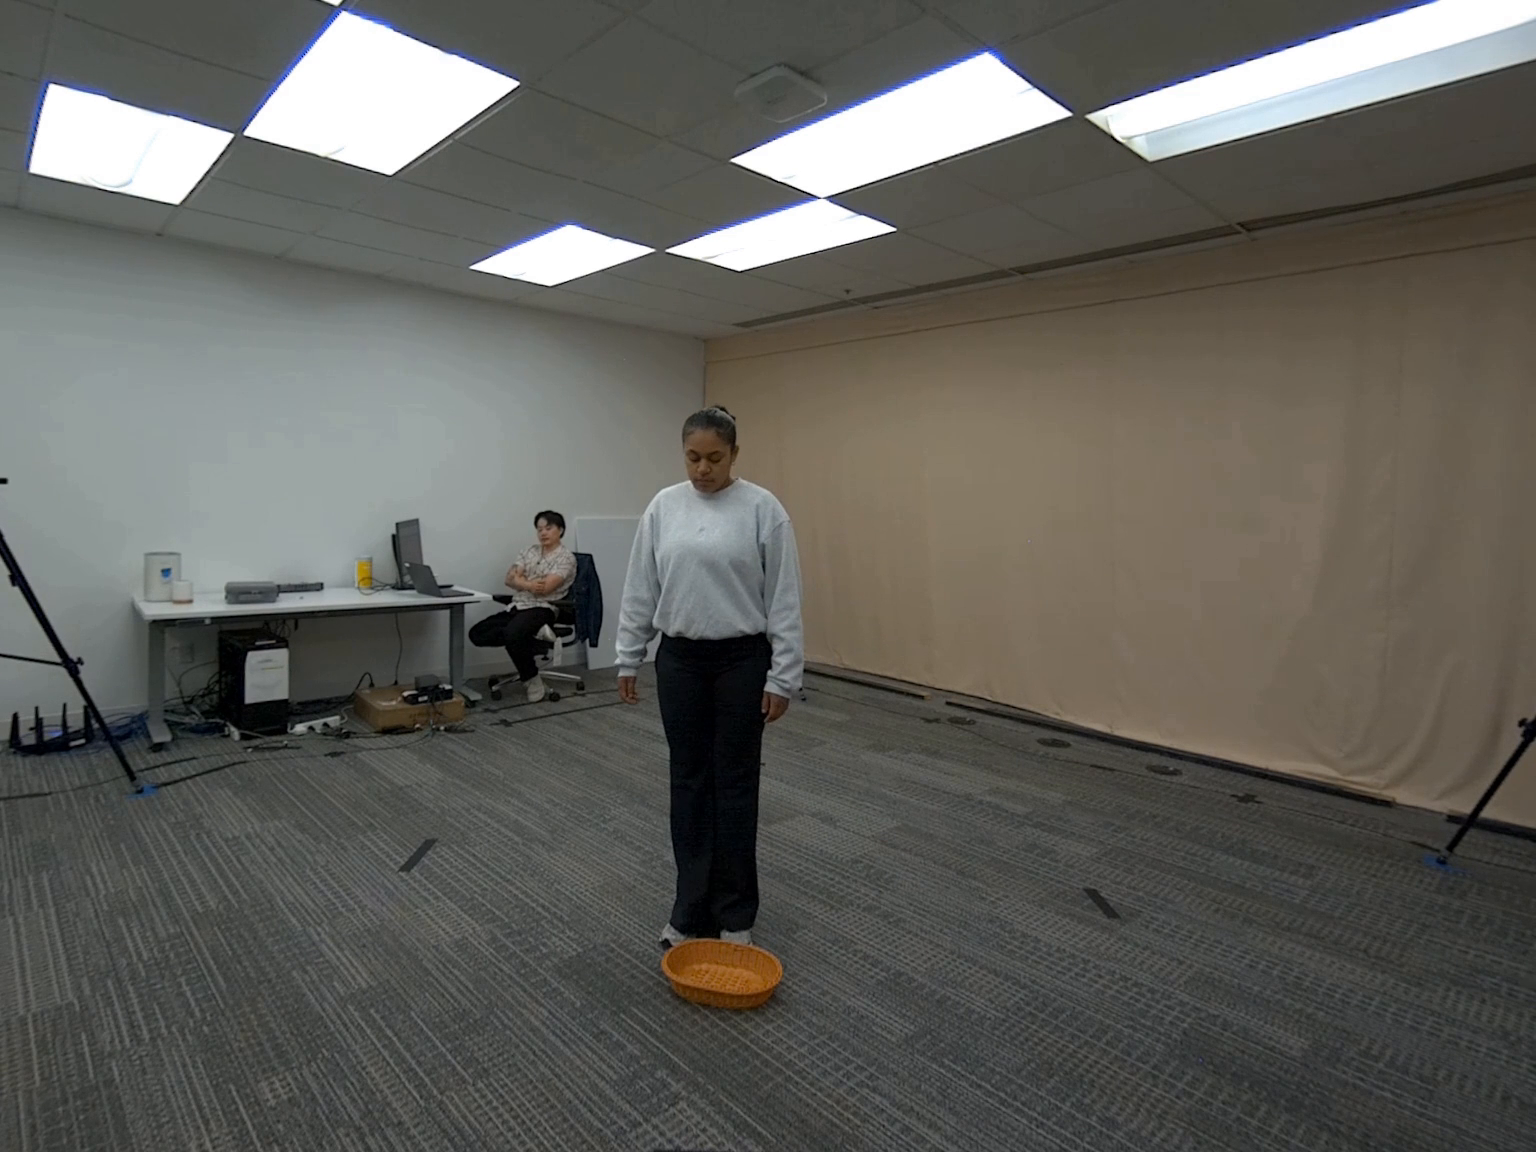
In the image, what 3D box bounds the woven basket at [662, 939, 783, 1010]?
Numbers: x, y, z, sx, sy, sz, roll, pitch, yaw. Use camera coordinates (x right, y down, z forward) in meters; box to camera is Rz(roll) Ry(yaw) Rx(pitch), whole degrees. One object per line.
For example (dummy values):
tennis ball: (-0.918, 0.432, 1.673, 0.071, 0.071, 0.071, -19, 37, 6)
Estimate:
woven basket: (-0.142, 1.135, 2.390, 0.355, 0.073, 0.249, 3, 6, 17)
